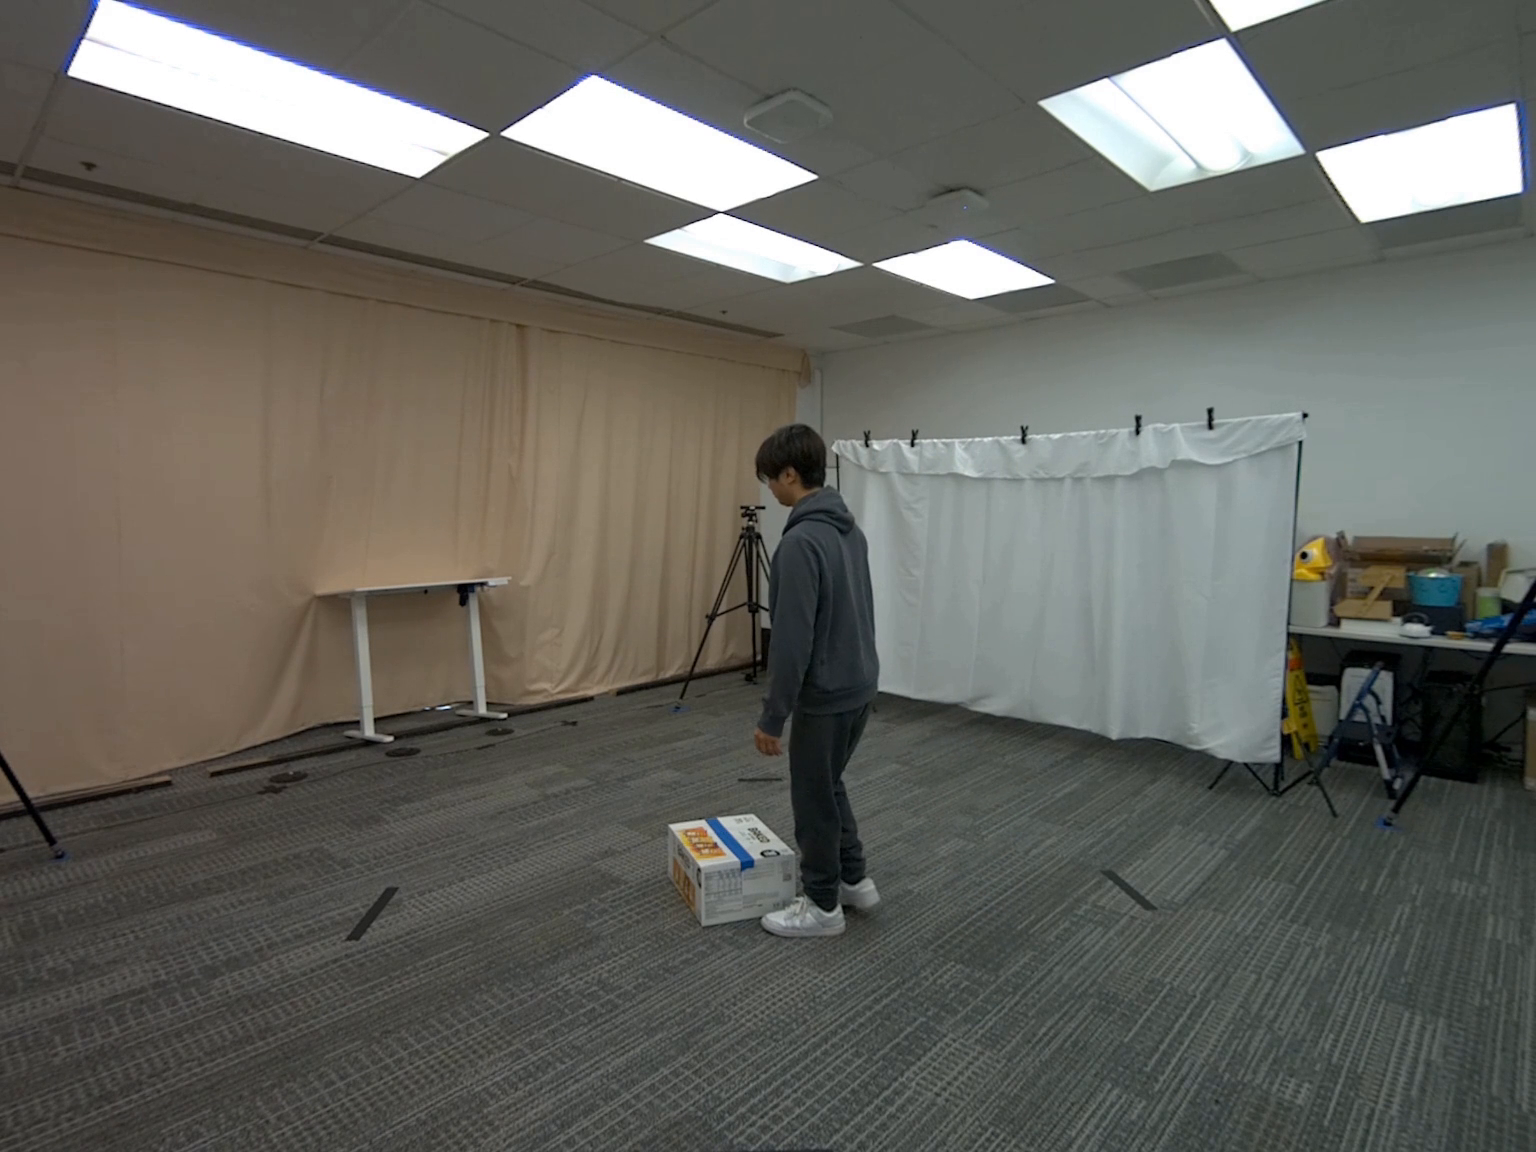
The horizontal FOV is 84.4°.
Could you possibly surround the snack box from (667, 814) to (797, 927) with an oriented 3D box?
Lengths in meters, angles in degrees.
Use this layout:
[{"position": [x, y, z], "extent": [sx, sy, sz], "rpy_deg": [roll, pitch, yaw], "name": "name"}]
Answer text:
[{"position": [-0.137, 1.041, 3.014], "extent": [0.333, 0.205, 0.414], "rpy_deg": [-2, 5, -21], "name": "snack box"}]
